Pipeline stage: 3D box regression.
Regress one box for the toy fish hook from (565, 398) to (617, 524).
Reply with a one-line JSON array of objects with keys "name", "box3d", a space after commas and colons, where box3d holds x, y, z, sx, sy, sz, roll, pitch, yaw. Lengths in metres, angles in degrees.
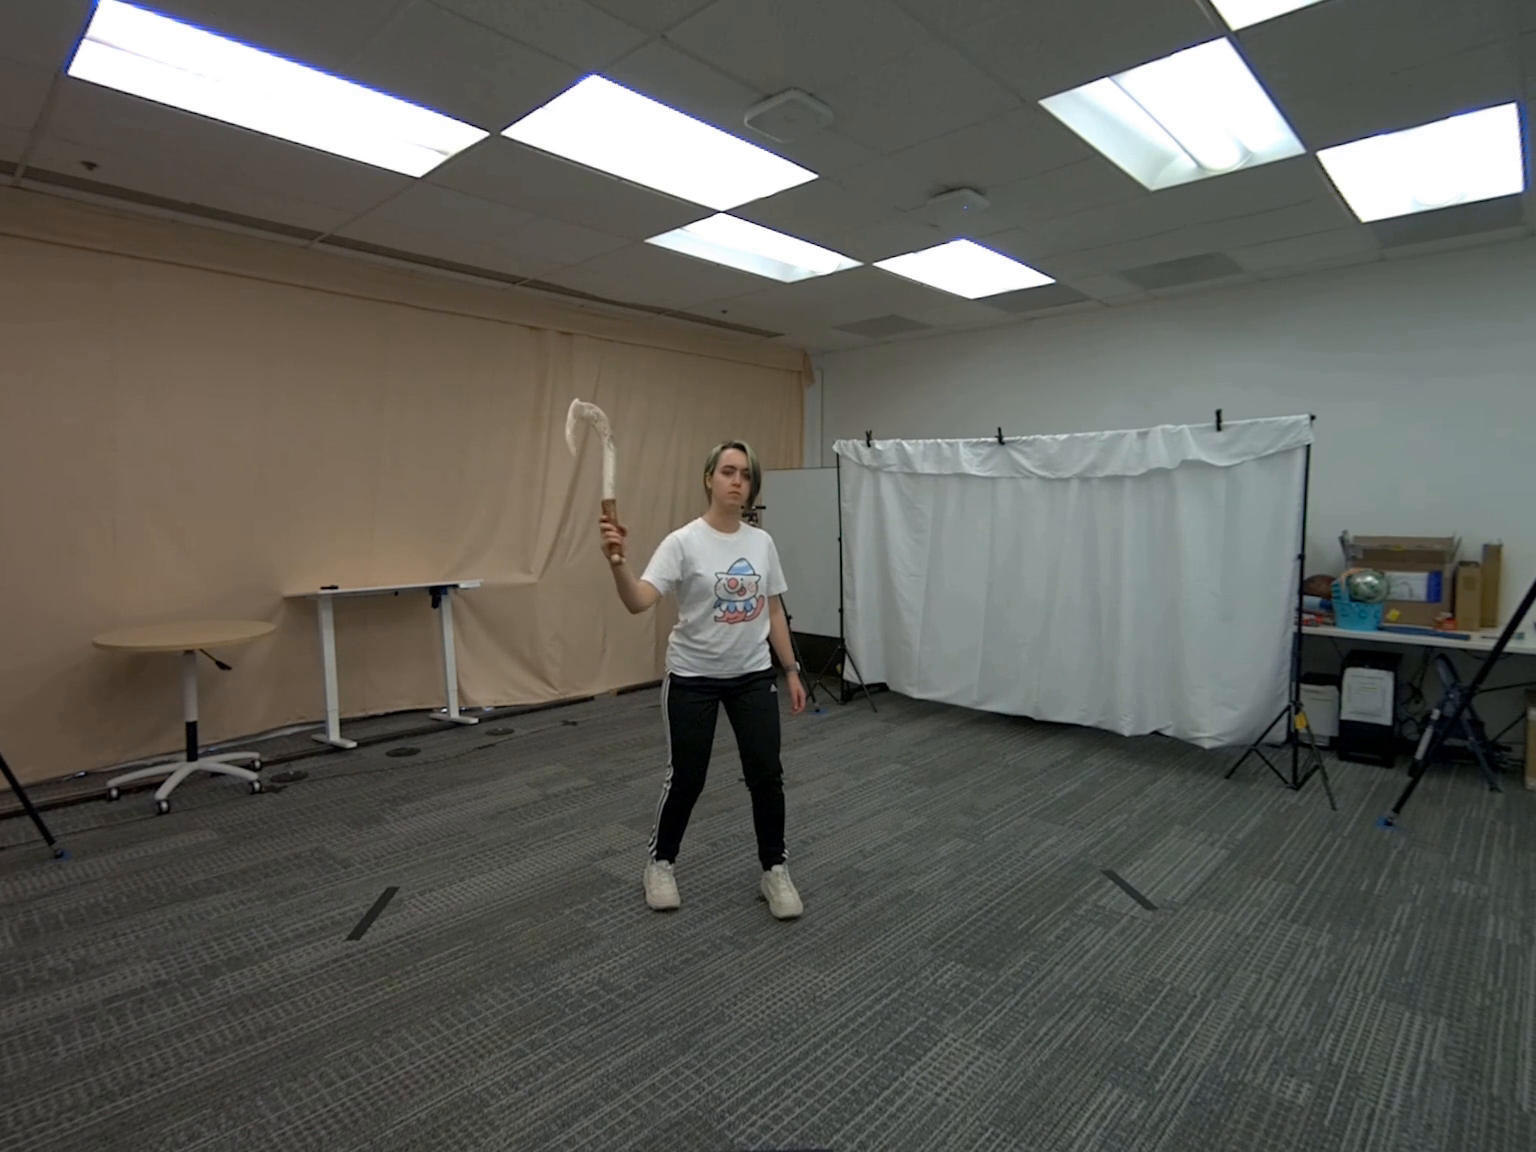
[{"name": "toy fish hook", "box3d": [-0.498, -0.267, 2.493, 0.049, 0.511, 0.218, -17, -12, 31]}]
